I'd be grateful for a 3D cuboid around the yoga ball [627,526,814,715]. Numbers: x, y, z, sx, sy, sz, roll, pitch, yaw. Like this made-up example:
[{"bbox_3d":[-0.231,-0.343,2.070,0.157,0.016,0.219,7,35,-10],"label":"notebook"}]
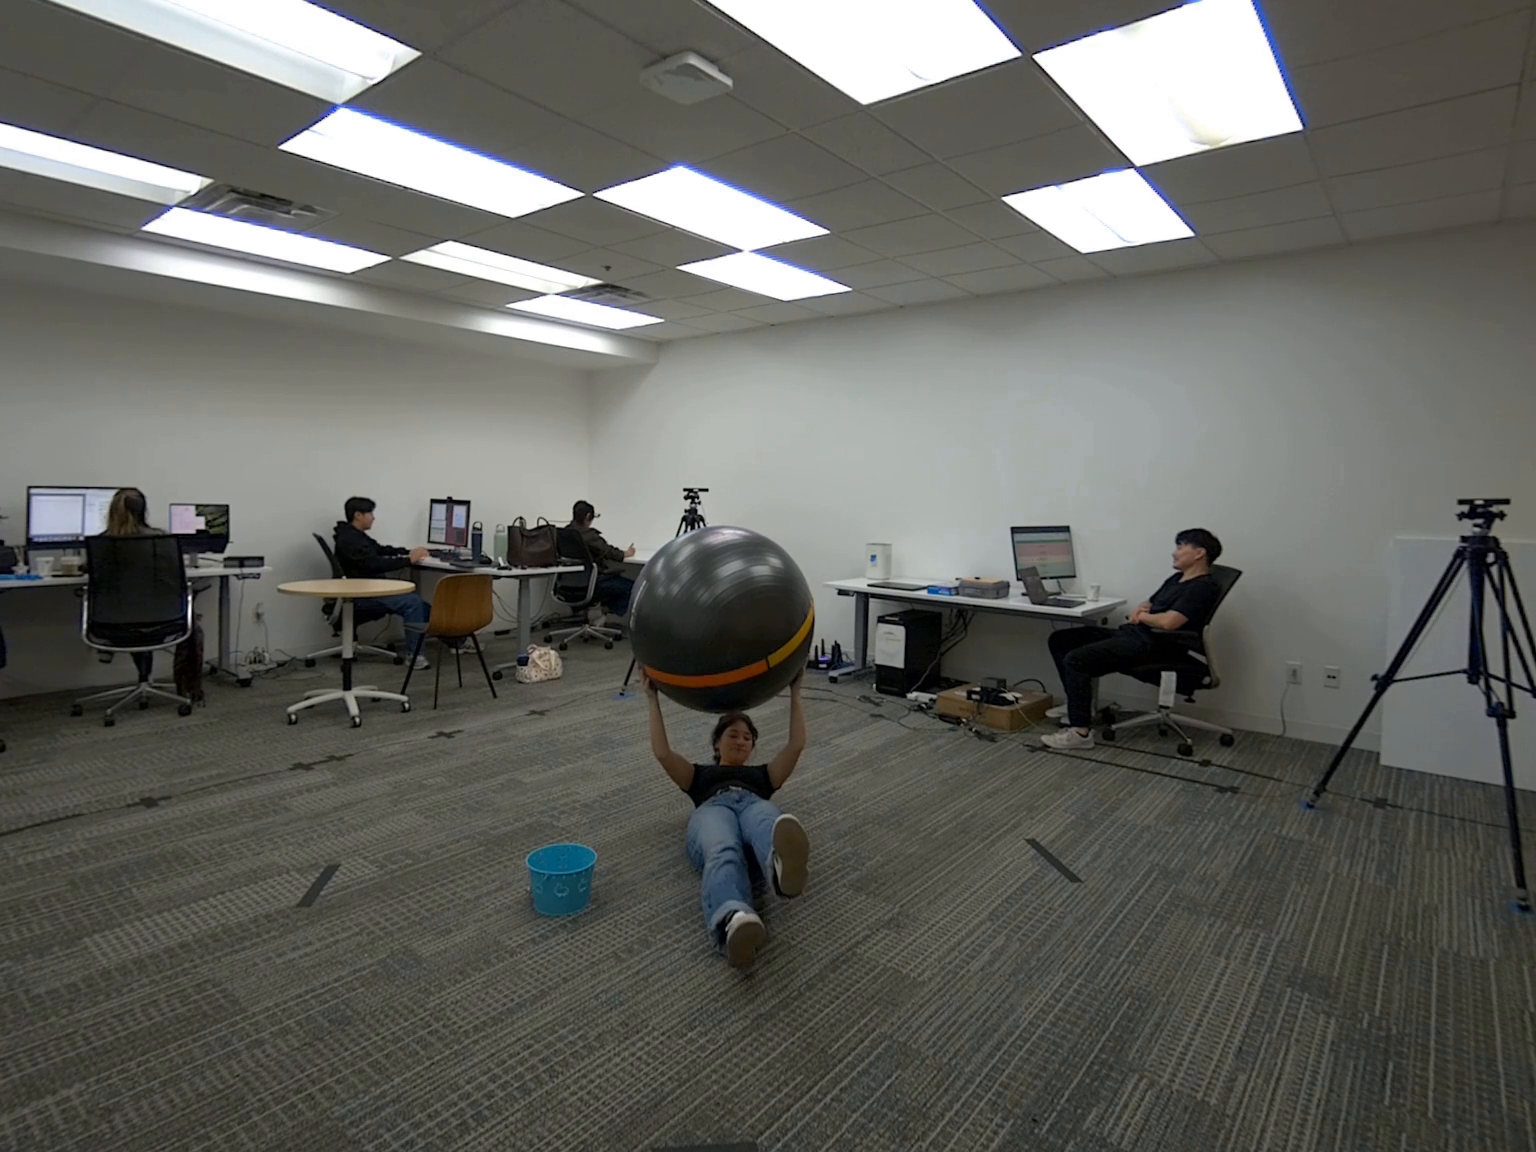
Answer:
[{"bbox_3d":[-0.201,0.177,3.460,0.757,0.755,0.762,1,4,-2],"label":"yoga ball"}]
